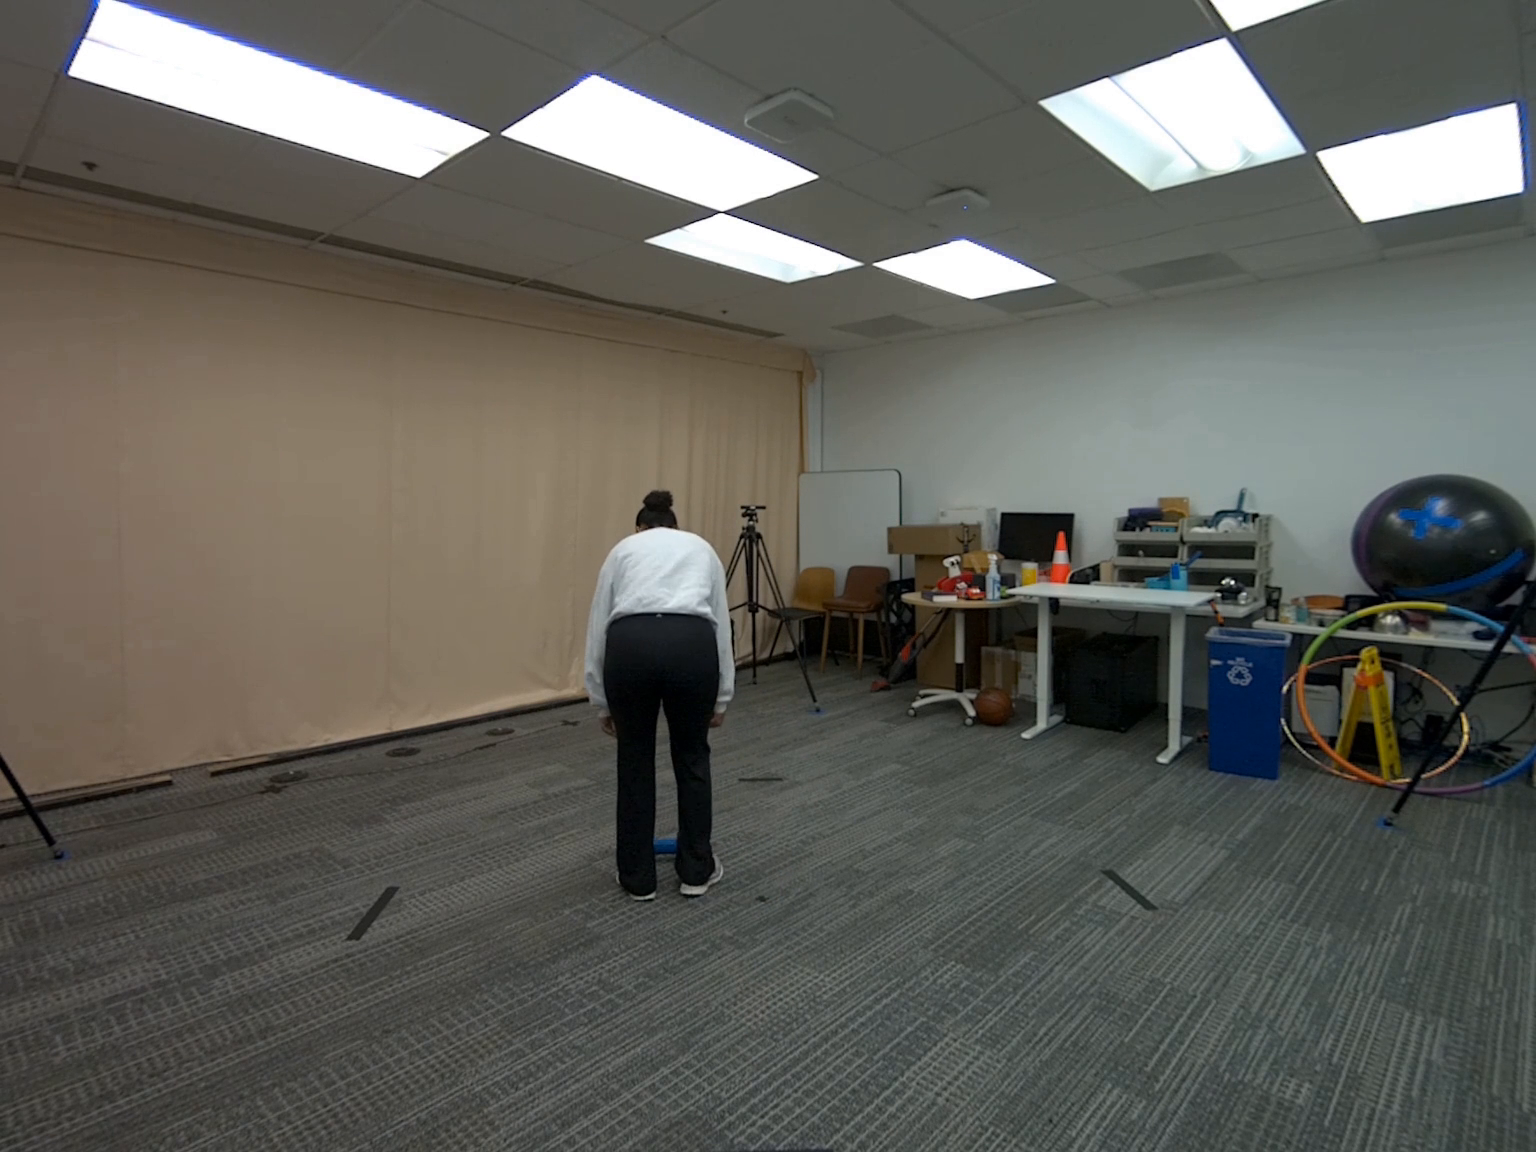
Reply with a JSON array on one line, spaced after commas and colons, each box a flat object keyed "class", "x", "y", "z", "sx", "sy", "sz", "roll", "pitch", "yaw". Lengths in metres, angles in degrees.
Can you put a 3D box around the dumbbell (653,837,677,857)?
[{"class": "dumbbell", "x": -0.422, "y": 1.067, "z": 3.304, "sx": 0.291, "sy": 0.125, "sz": 0.107, "roll": -1, "pitch": -26, "yaw": -6}]
